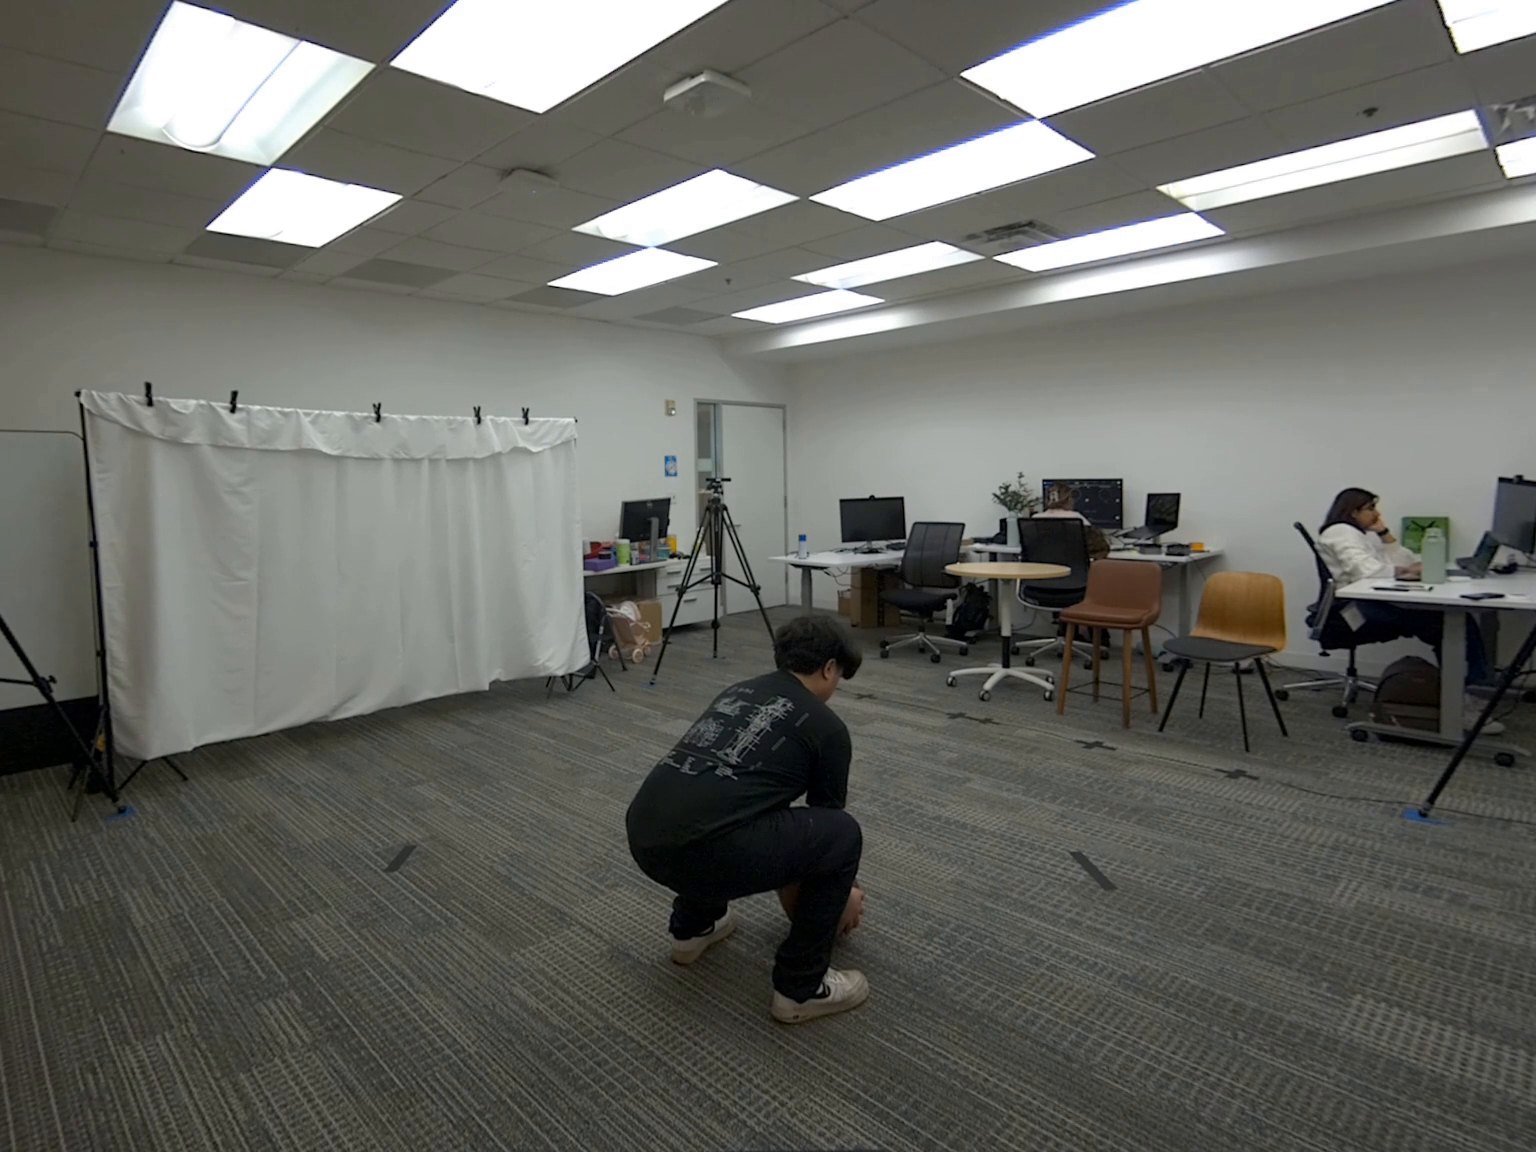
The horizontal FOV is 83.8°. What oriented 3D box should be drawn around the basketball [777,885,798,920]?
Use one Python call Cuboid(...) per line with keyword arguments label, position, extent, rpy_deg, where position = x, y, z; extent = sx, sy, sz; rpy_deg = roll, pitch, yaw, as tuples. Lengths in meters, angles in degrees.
Cuboid(label="basketball", position=(0.174, 0.978, 2.608), extent=(0.236, 0.235, 0.237), rpy_deg=(-1, 5, -2))
